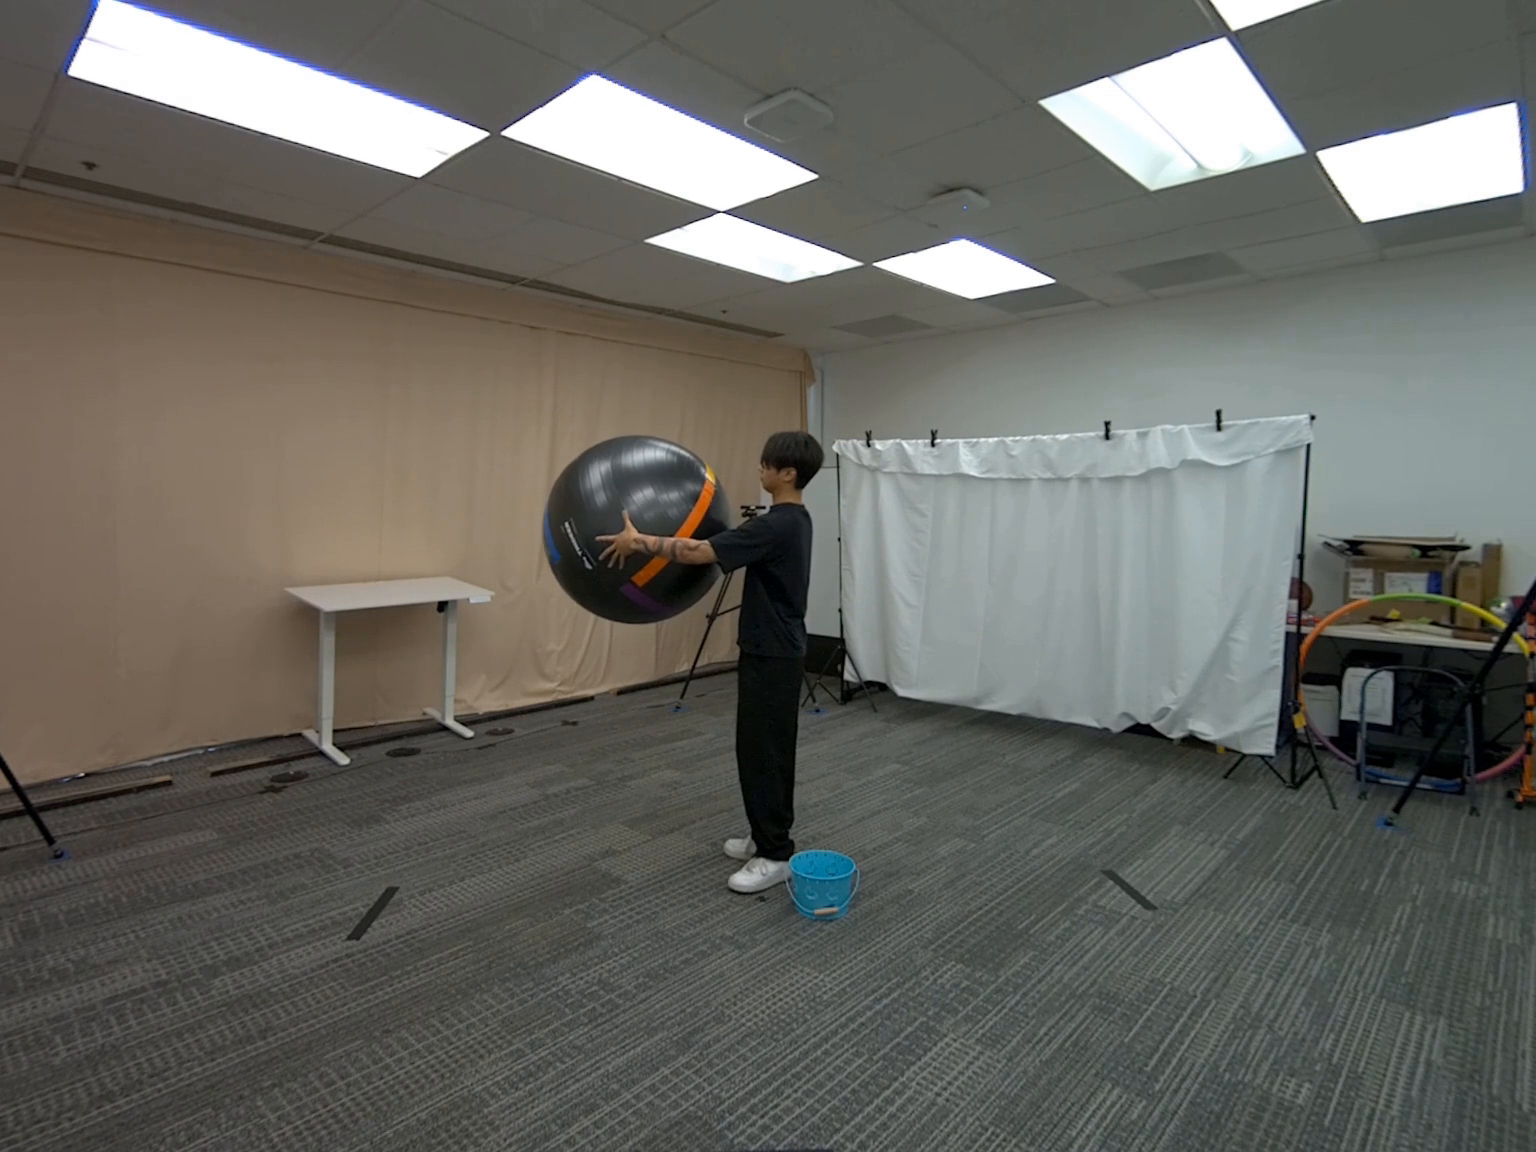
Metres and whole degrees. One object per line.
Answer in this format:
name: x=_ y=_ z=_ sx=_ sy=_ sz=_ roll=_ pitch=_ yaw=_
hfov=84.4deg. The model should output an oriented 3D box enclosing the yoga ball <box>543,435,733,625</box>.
yoga ball: x=-0.522 y=-0.181 z=3.410 sx=0.757 sy=0.756 sz=0.761 roll=0 pitch=4 yaw=-2
